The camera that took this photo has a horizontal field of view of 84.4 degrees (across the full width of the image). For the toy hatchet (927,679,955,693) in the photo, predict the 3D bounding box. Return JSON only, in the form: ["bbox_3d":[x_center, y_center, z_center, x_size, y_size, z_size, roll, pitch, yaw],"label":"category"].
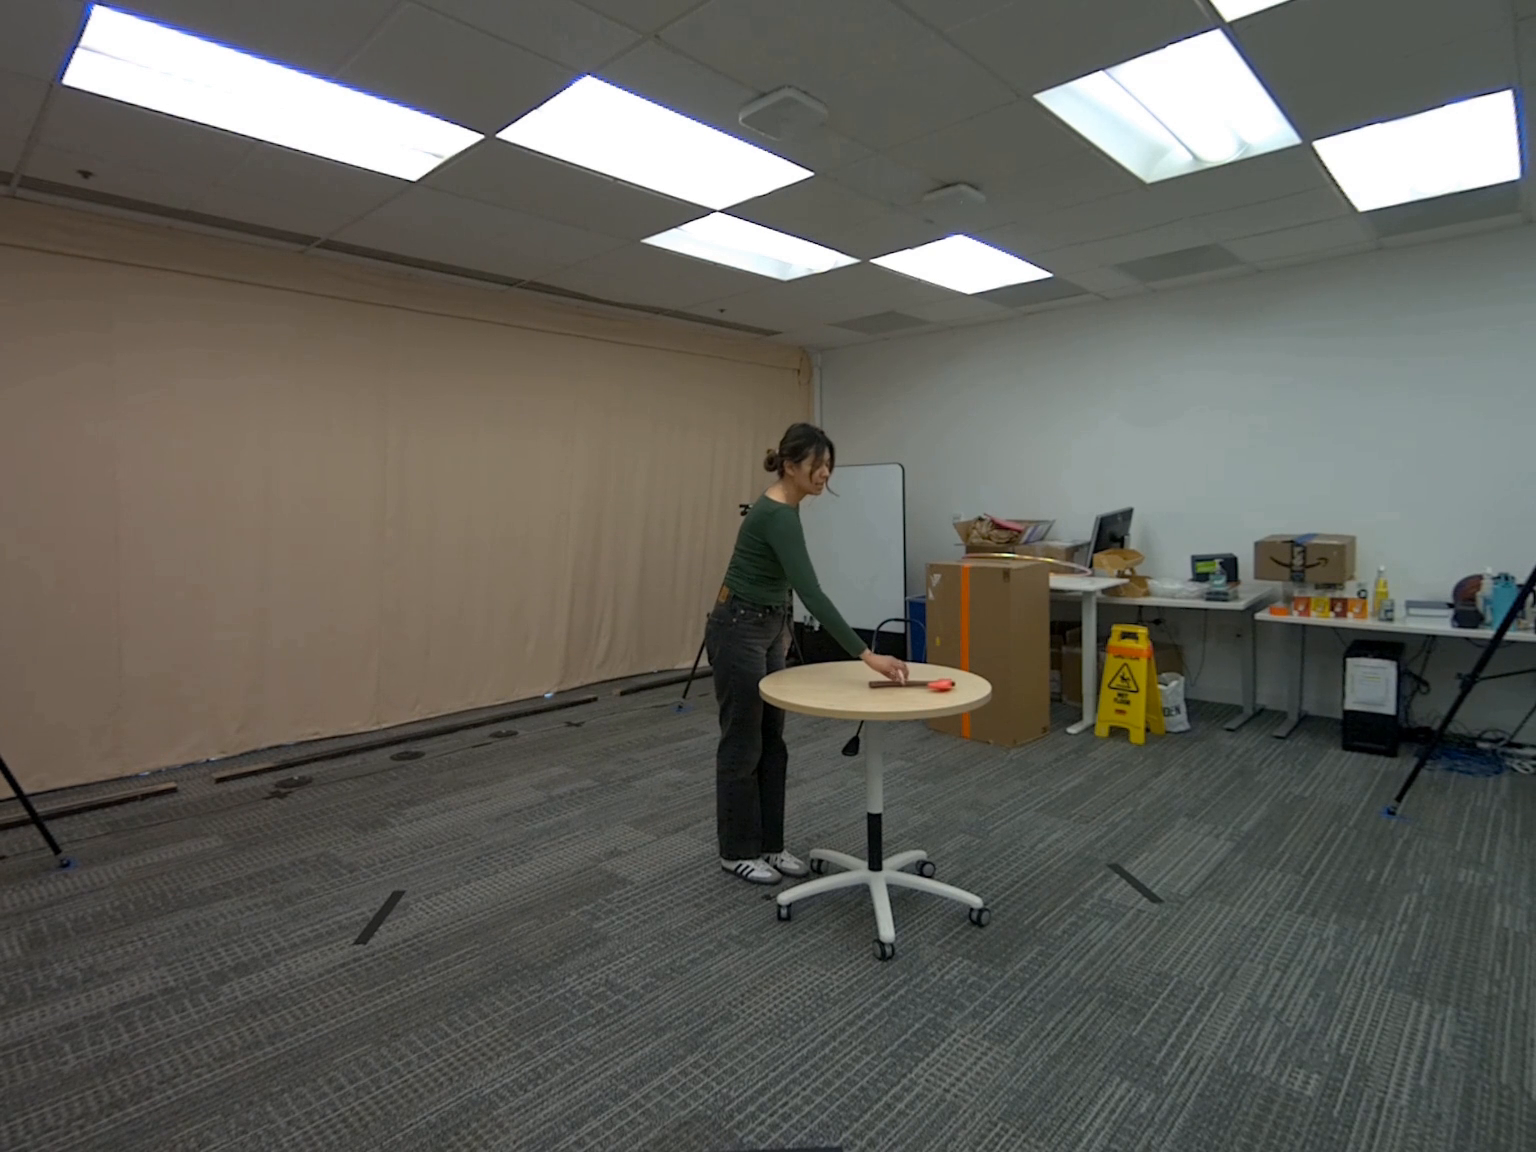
[{"bbox_3d":[0.469,0.358,2.711,0.271,0.029,0.131,-2,1,2],"label":"toy hatchet"}]
